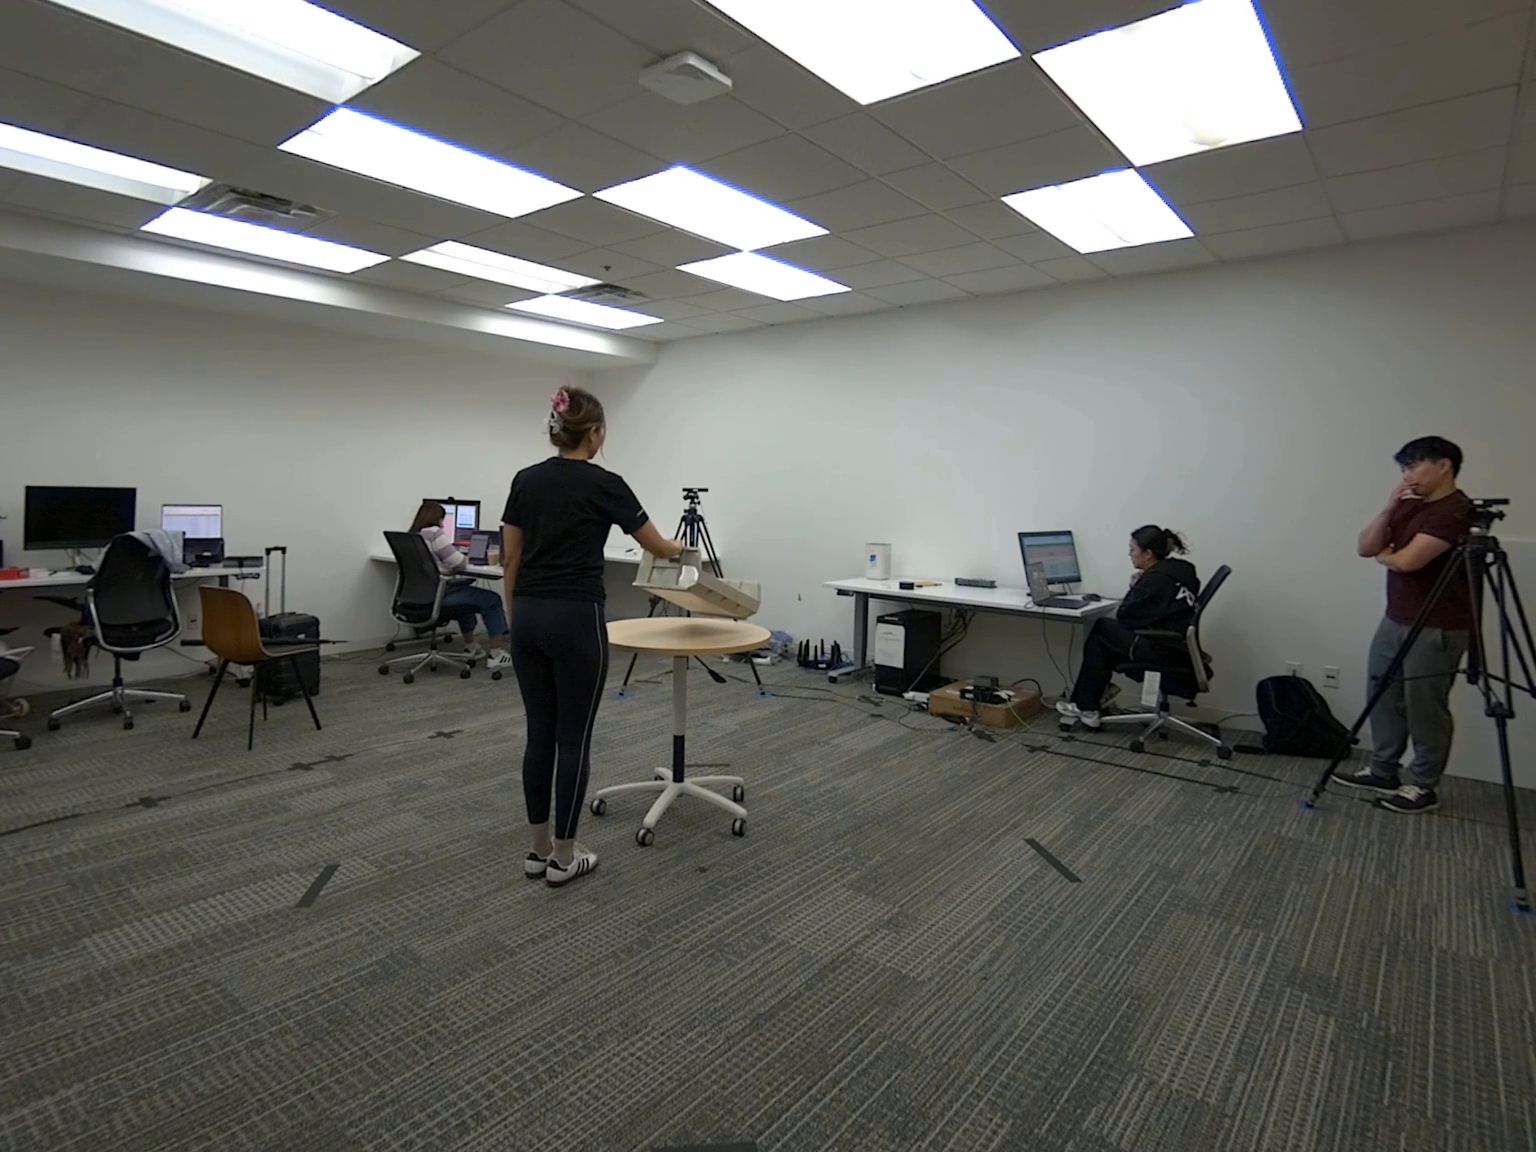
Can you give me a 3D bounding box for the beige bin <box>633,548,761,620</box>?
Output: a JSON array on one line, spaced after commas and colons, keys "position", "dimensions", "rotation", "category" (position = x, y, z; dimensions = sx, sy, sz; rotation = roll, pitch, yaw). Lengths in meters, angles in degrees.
[{"position": [-0.303, 0.029, 3.603], "dimensions": [0.390, 0.191, 0.405], "rotation": [3, -17, 40], "category": "beige bin"}]
